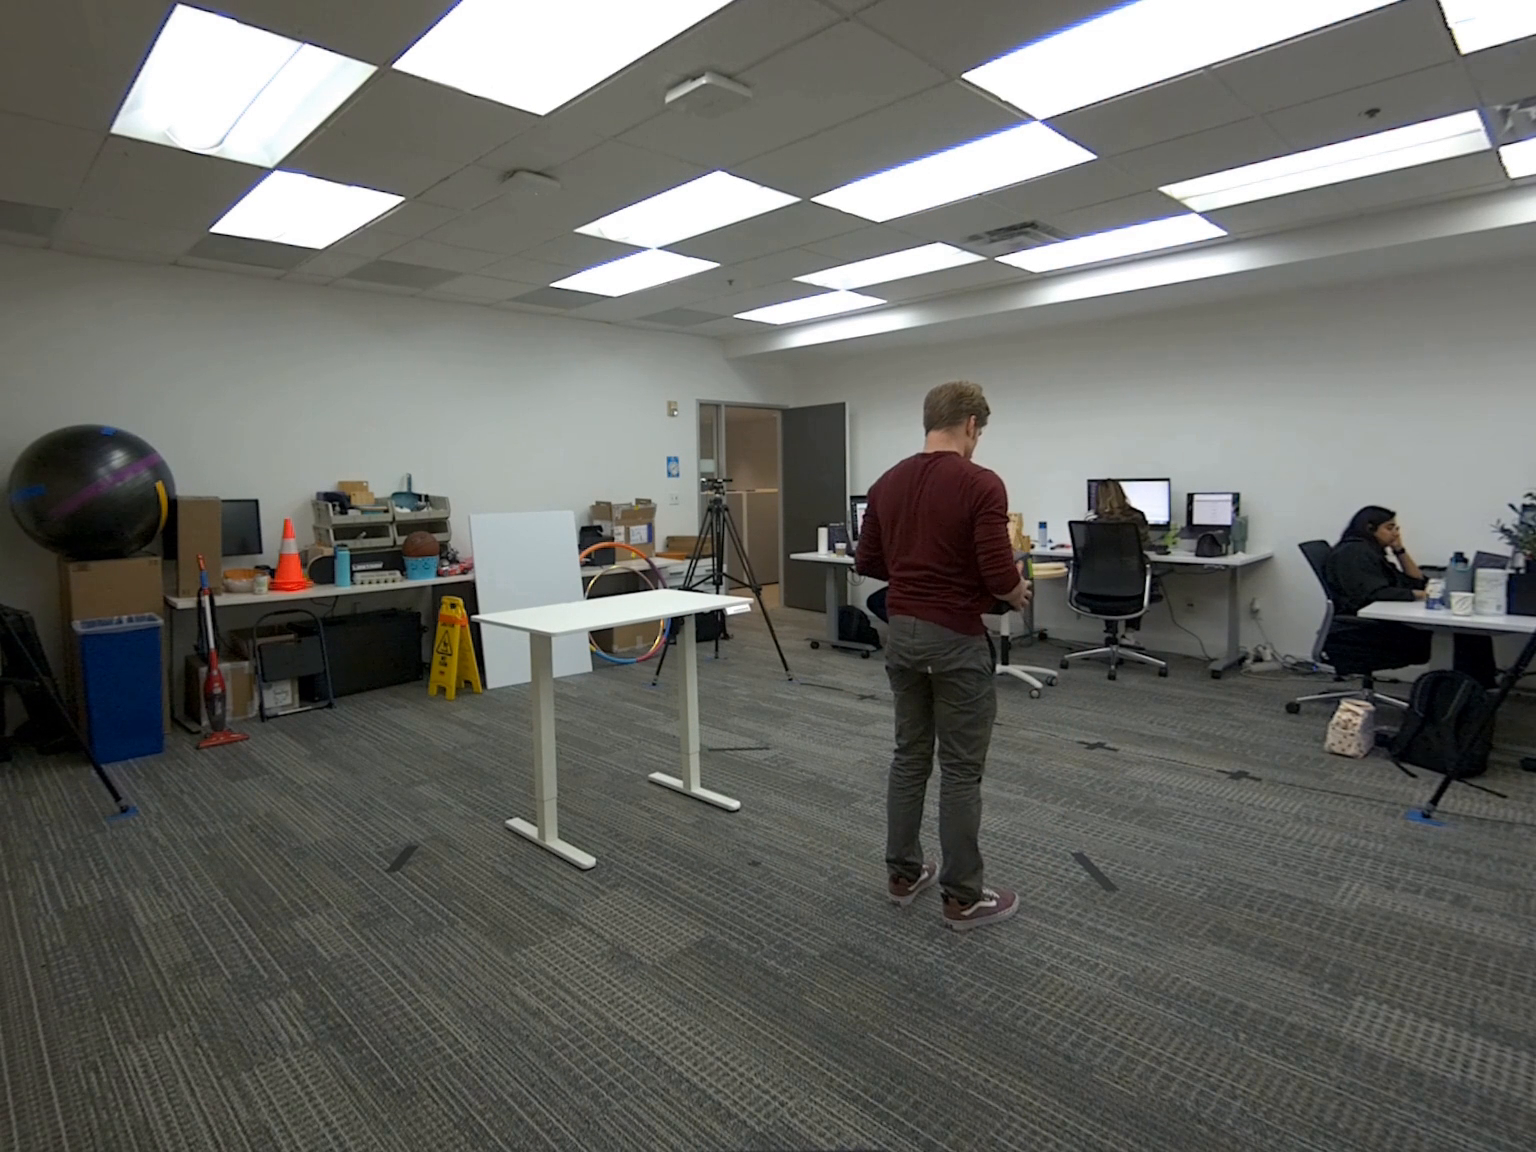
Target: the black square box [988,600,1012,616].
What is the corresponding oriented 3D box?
[{"bbox_3d":[0.744,0.020,2.883,0.213,0.154,0.235,-20,16,-40],"label":"black square box"}]
